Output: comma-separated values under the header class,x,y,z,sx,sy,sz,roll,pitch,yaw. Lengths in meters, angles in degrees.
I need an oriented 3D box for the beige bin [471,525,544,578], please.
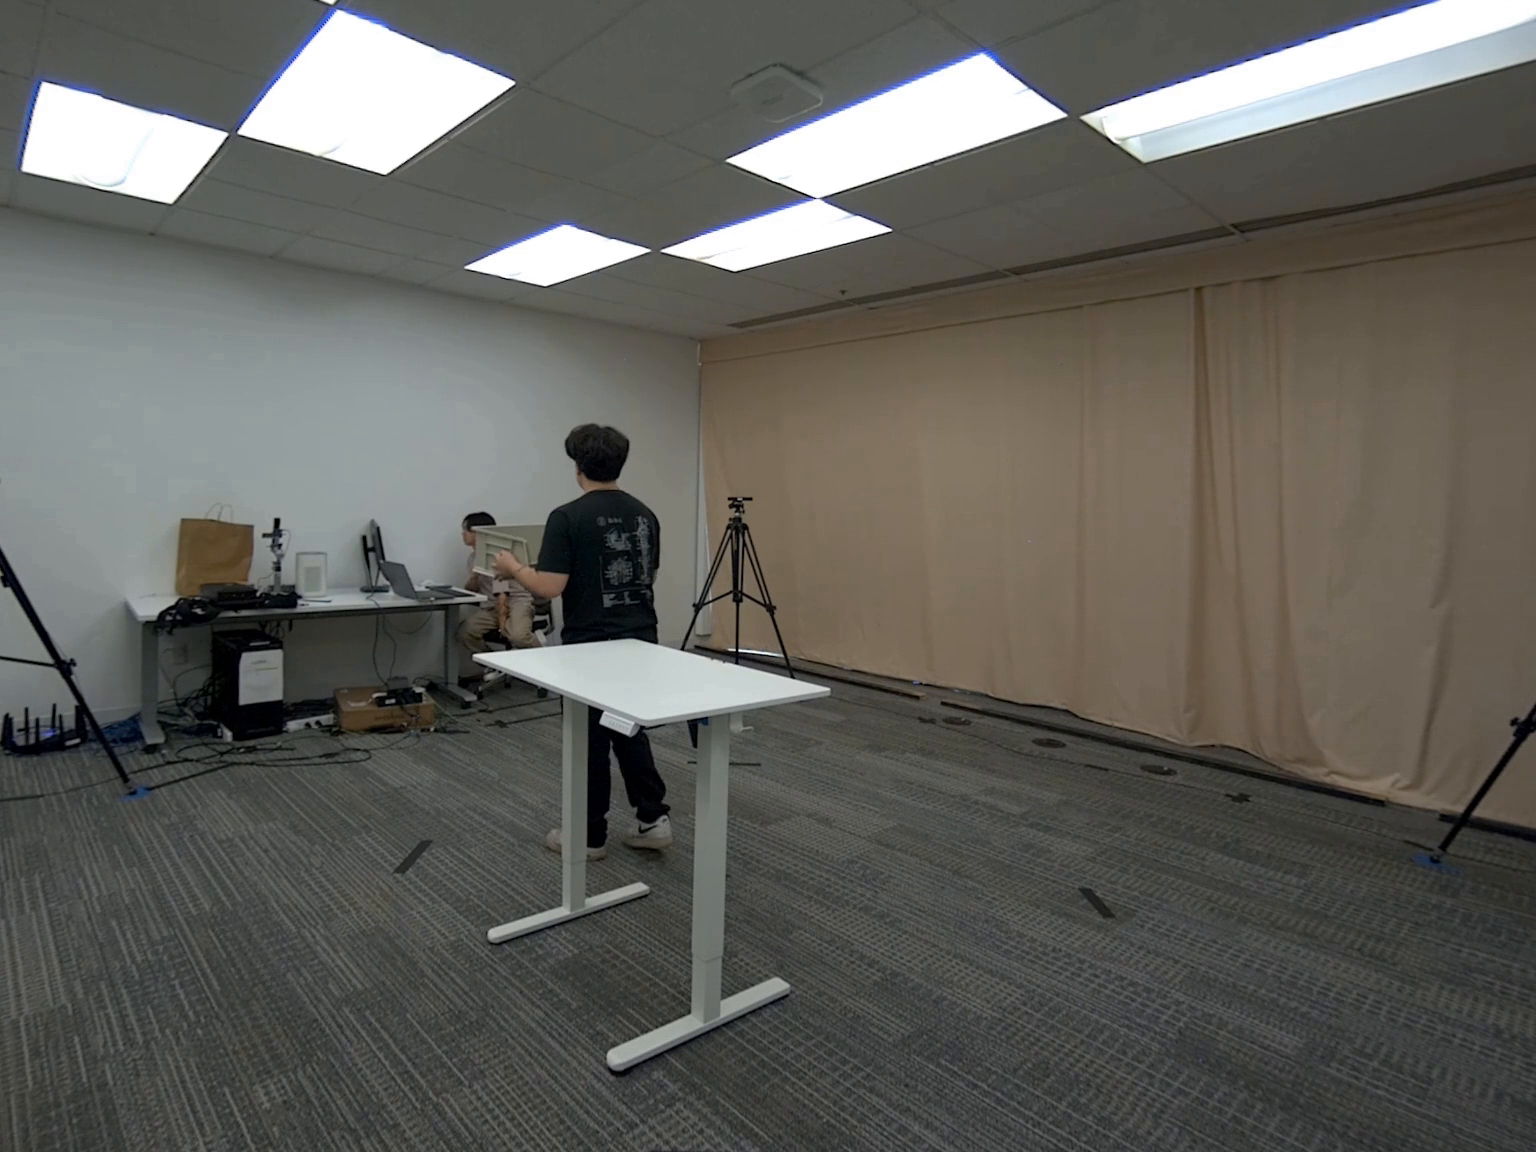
class,x,y,z,sx,sy,sz,roll,pitch,yaw
beige bin,-0.916,-0.092,3.435,0.387,0.188,0.413,11,11,37
